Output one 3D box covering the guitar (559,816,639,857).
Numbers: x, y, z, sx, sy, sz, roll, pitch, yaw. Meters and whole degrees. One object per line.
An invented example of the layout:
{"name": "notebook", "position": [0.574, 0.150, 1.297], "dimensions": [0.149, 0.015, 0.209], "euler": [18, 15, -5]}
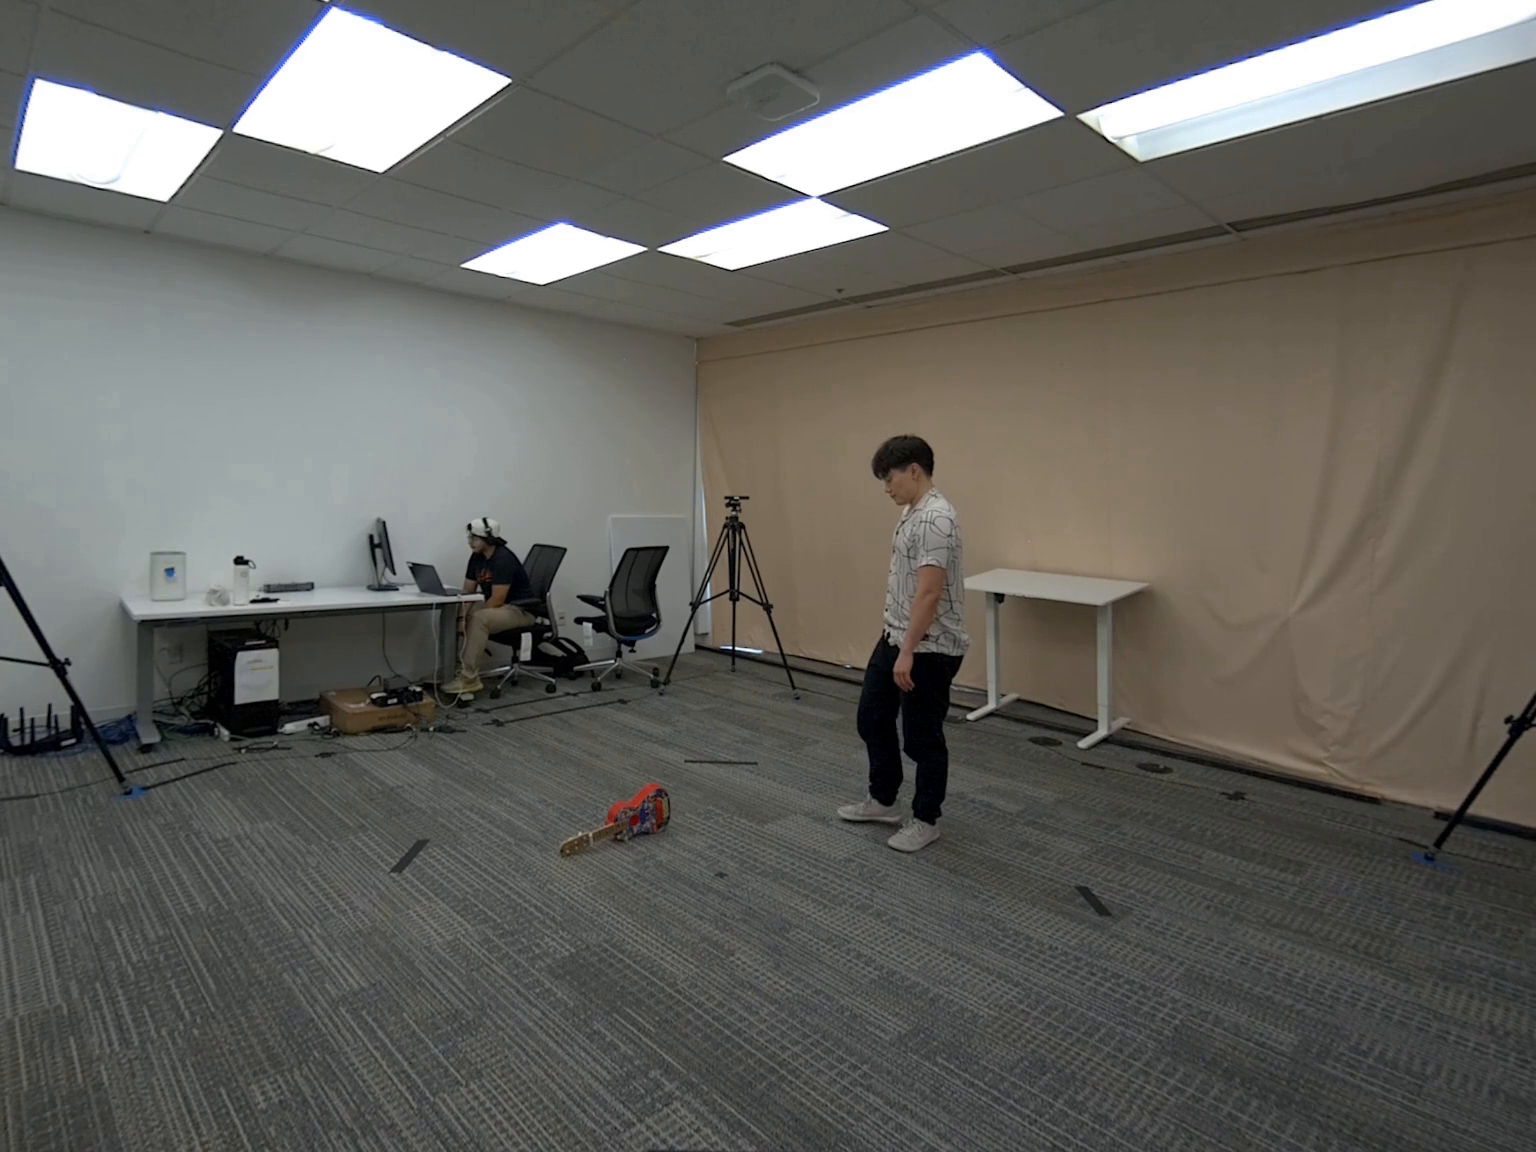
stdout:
{"name": "guitar", "position": [-0.619, 0.975, 3.377], "dimensions": [0.487, 0.192, 0.072], "euler": [-3, 9, -37]}
